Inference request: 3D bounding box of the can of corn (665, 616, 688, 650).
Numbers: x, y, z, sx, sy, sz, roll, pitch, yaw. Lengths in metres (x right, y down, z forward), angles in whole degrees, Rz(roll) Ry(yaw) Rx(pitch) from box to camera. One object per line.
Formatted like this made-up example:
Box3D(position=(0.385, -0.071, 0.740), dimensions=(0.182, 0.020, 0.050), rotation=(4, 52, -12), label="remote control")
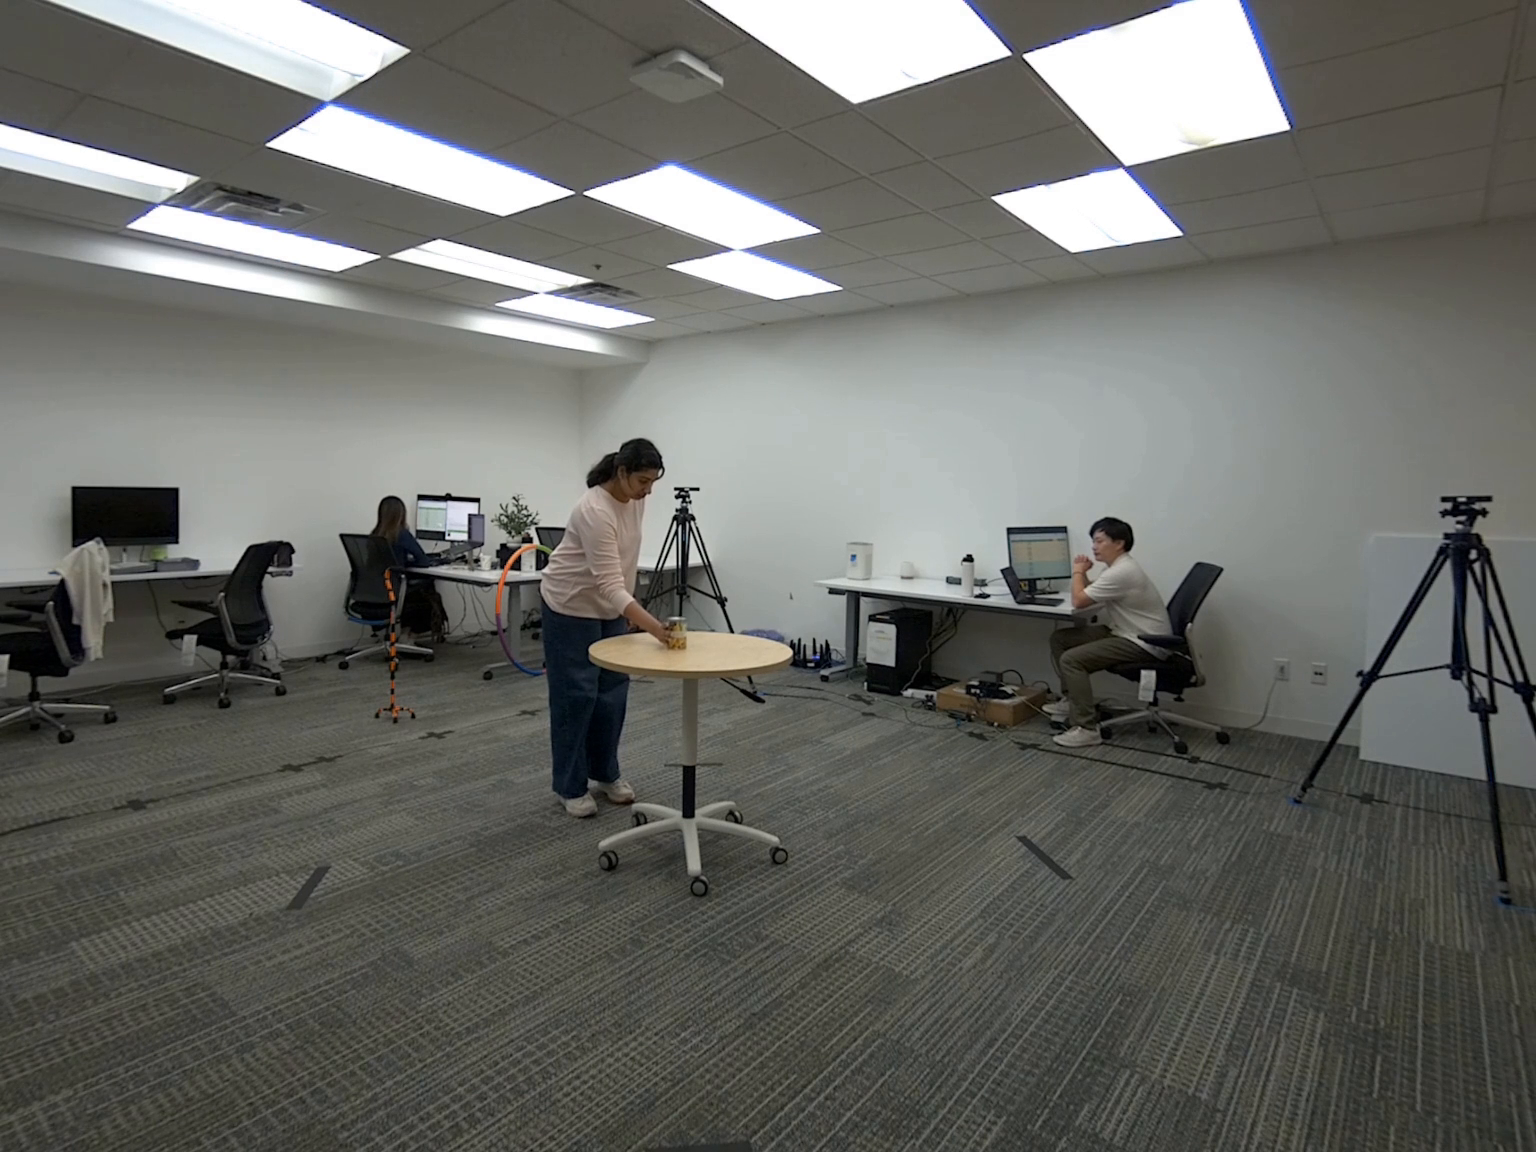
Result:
Box3D(position=(-0.357, 0.215, 3.217), dimensions=(0.074, 0.111, 0.074), rotation=(1, 2, -2), label="can of corn")
